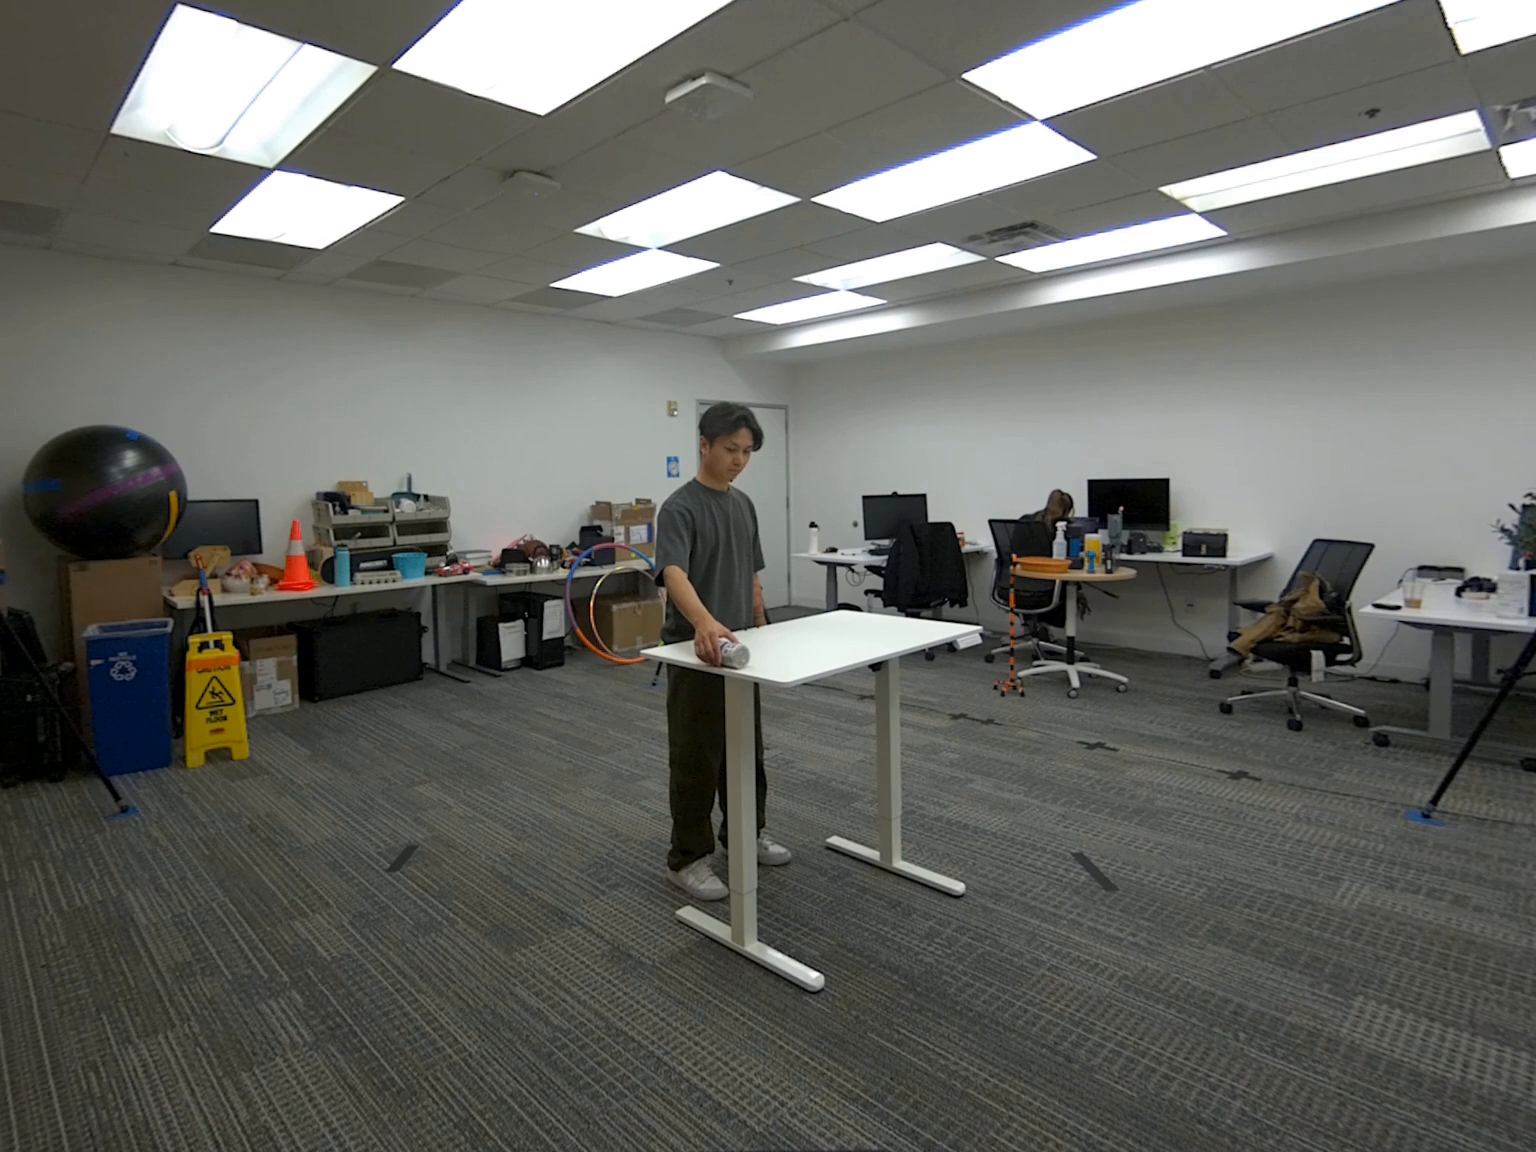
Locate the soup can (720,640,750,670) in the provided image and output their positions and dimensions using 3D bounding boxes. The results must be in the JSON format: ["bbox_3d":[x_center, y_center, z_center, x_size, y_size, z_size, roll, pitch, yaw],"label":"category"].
[{"bbox_3d":[-0.112,0.216,2.378,0.065,0.067,0.125,-5,4,-39],"label":"soup can"}]
